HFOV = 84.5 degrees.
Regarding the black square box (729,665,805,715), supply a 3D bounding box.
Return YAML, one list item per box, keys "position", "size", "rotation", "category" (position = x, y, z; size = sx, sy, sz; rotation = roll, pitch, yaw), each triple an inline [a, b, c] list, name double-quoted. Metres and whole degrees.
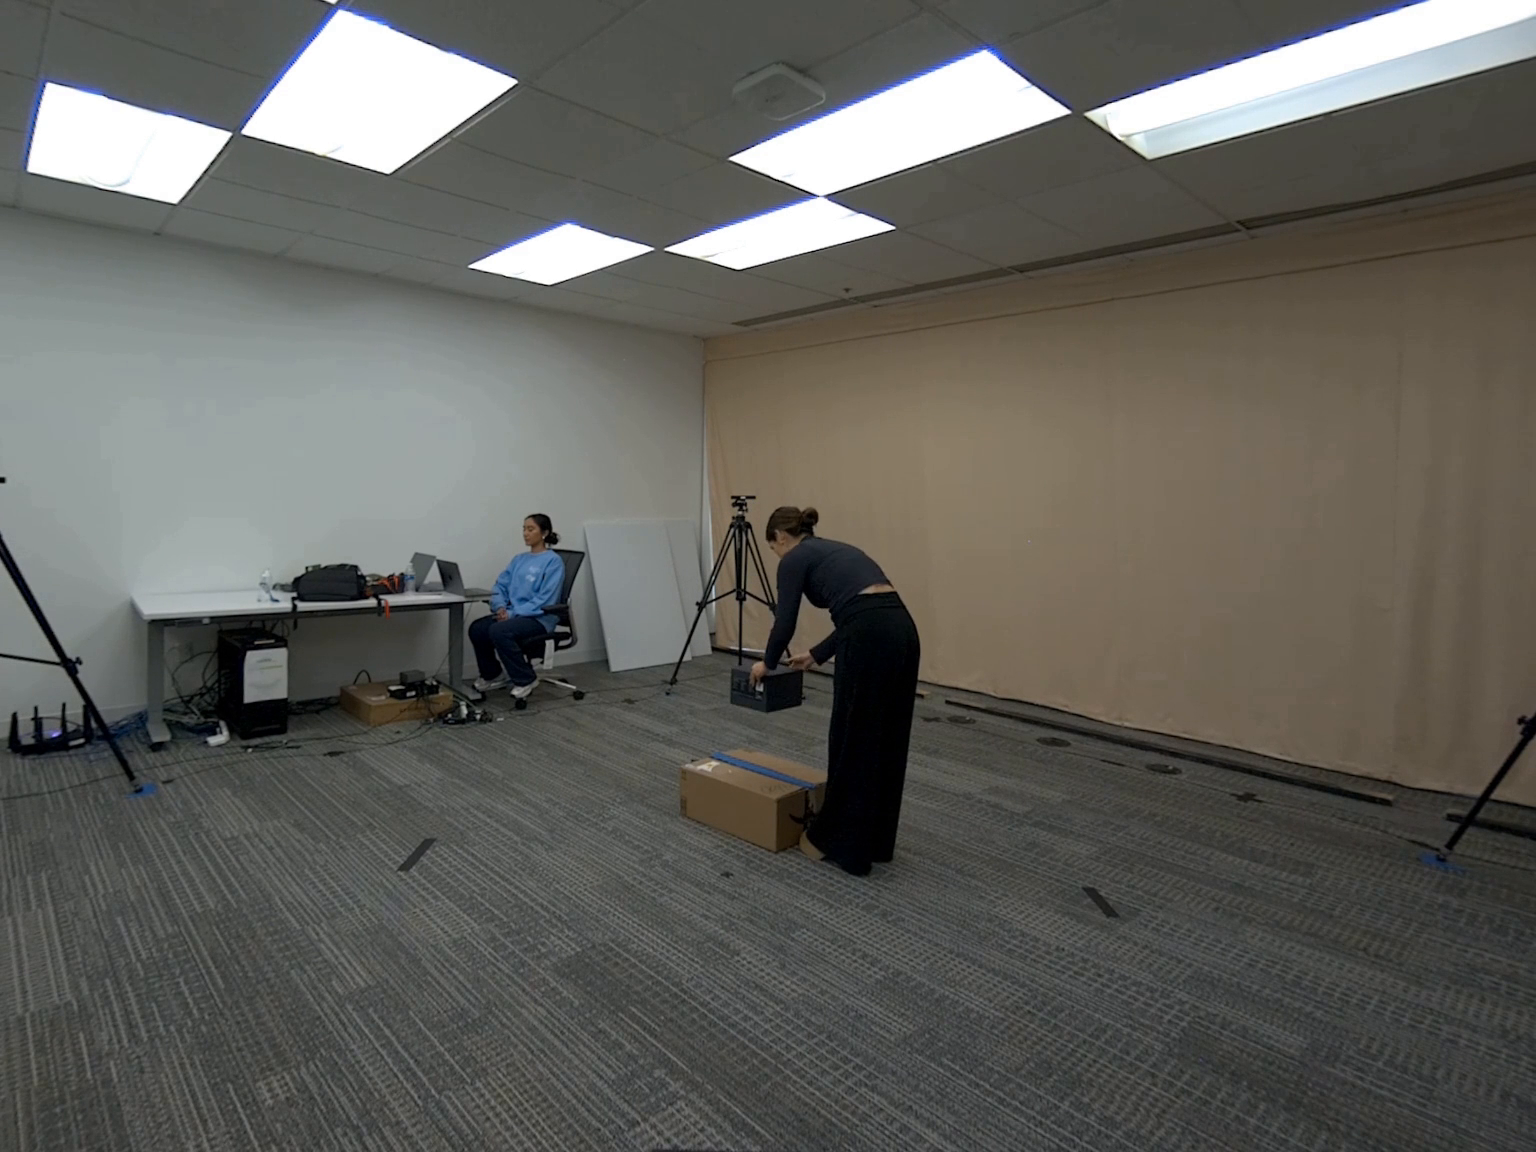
- position: [-0.007, 0.473, 3.595]
  size: [0.222, 0.155, 0.222]
  rotation: [5, 5, 43]
  category: "black square box"
